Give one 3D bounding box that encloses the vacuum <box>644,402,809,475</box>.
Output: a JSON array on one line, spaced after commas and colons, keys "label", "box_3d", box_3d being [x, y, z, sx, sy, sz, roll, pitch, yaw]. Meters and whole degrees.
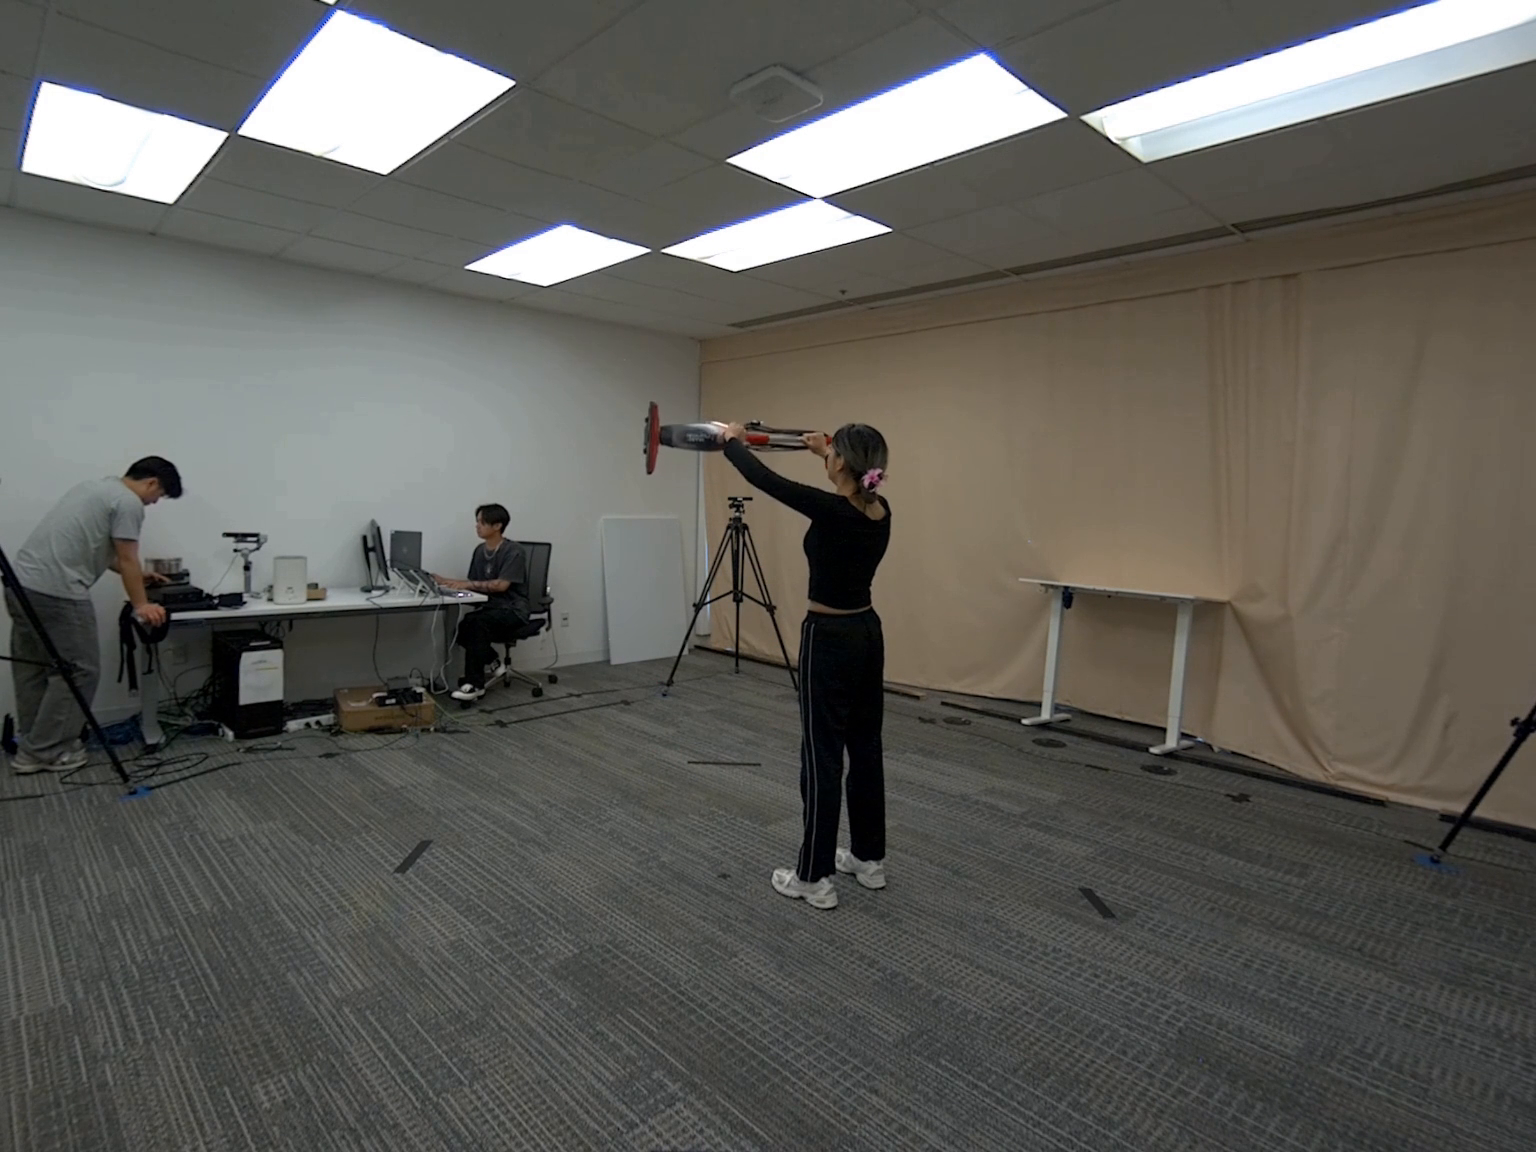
[{"label": "vacuum", "box_3d": [-0.027, -0.526, 3.276, 1.027, 0.250, 0.148, -6, 16, -38]}]
